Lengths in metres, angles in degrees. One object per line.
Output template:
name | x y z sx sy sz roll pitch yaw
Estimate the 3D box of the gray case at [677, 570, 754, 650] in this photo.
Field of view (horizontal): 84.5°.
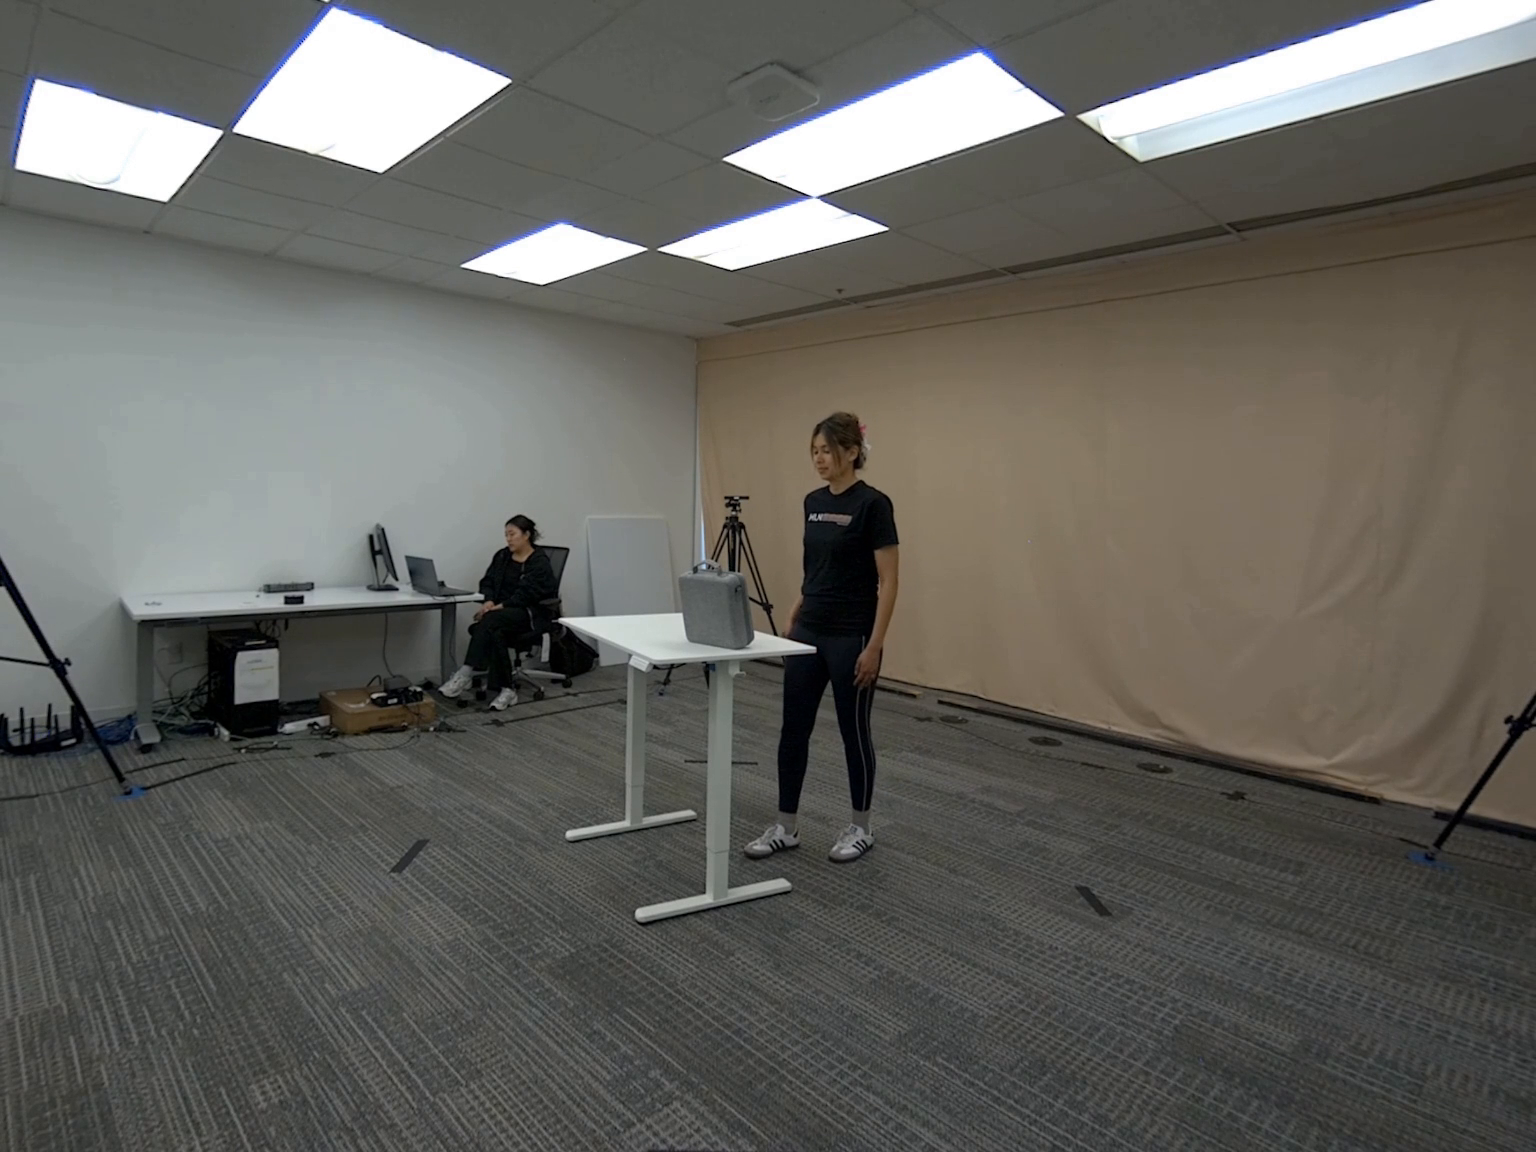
gray case | -0.183 0.108 2.863 0.263 0.258 0.103 3 16 43
